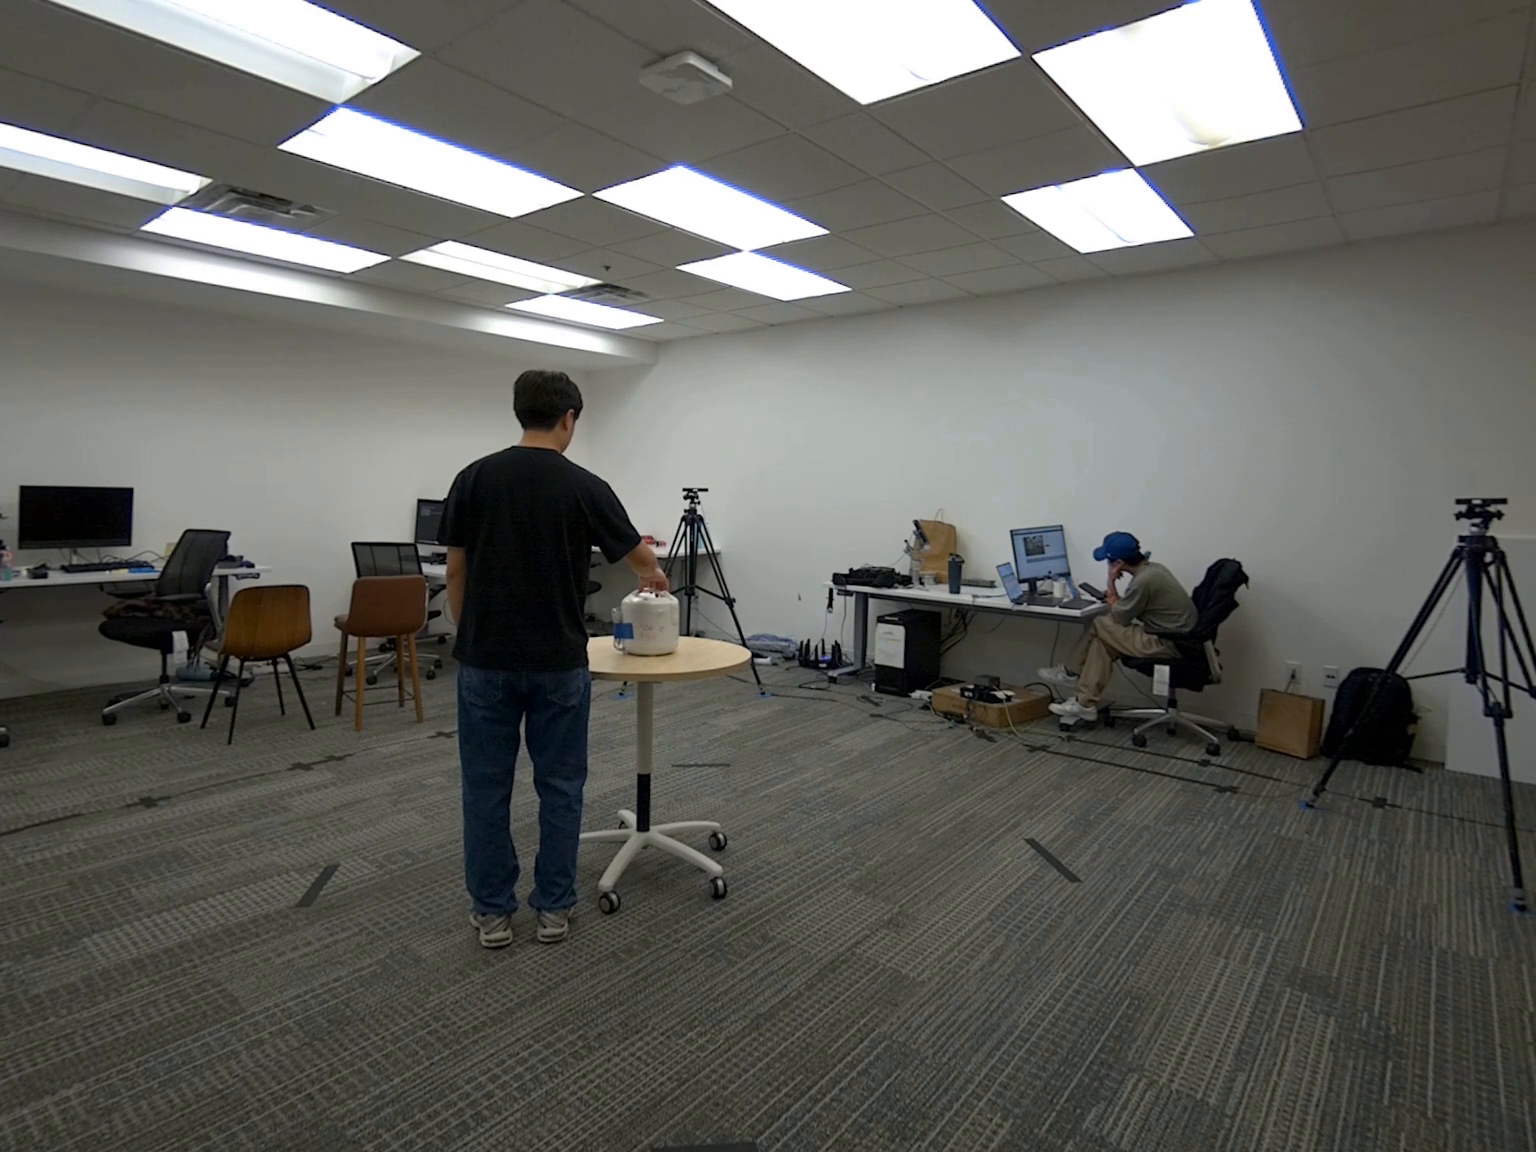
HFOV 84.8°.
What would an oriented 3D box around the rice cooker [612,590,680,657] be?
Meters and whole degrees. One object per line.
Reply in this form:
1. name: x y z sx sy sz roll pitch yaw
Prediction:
1. rice cooker: -0.436 0.156 3.079 0.226 0.232 0.213 2 5 25
